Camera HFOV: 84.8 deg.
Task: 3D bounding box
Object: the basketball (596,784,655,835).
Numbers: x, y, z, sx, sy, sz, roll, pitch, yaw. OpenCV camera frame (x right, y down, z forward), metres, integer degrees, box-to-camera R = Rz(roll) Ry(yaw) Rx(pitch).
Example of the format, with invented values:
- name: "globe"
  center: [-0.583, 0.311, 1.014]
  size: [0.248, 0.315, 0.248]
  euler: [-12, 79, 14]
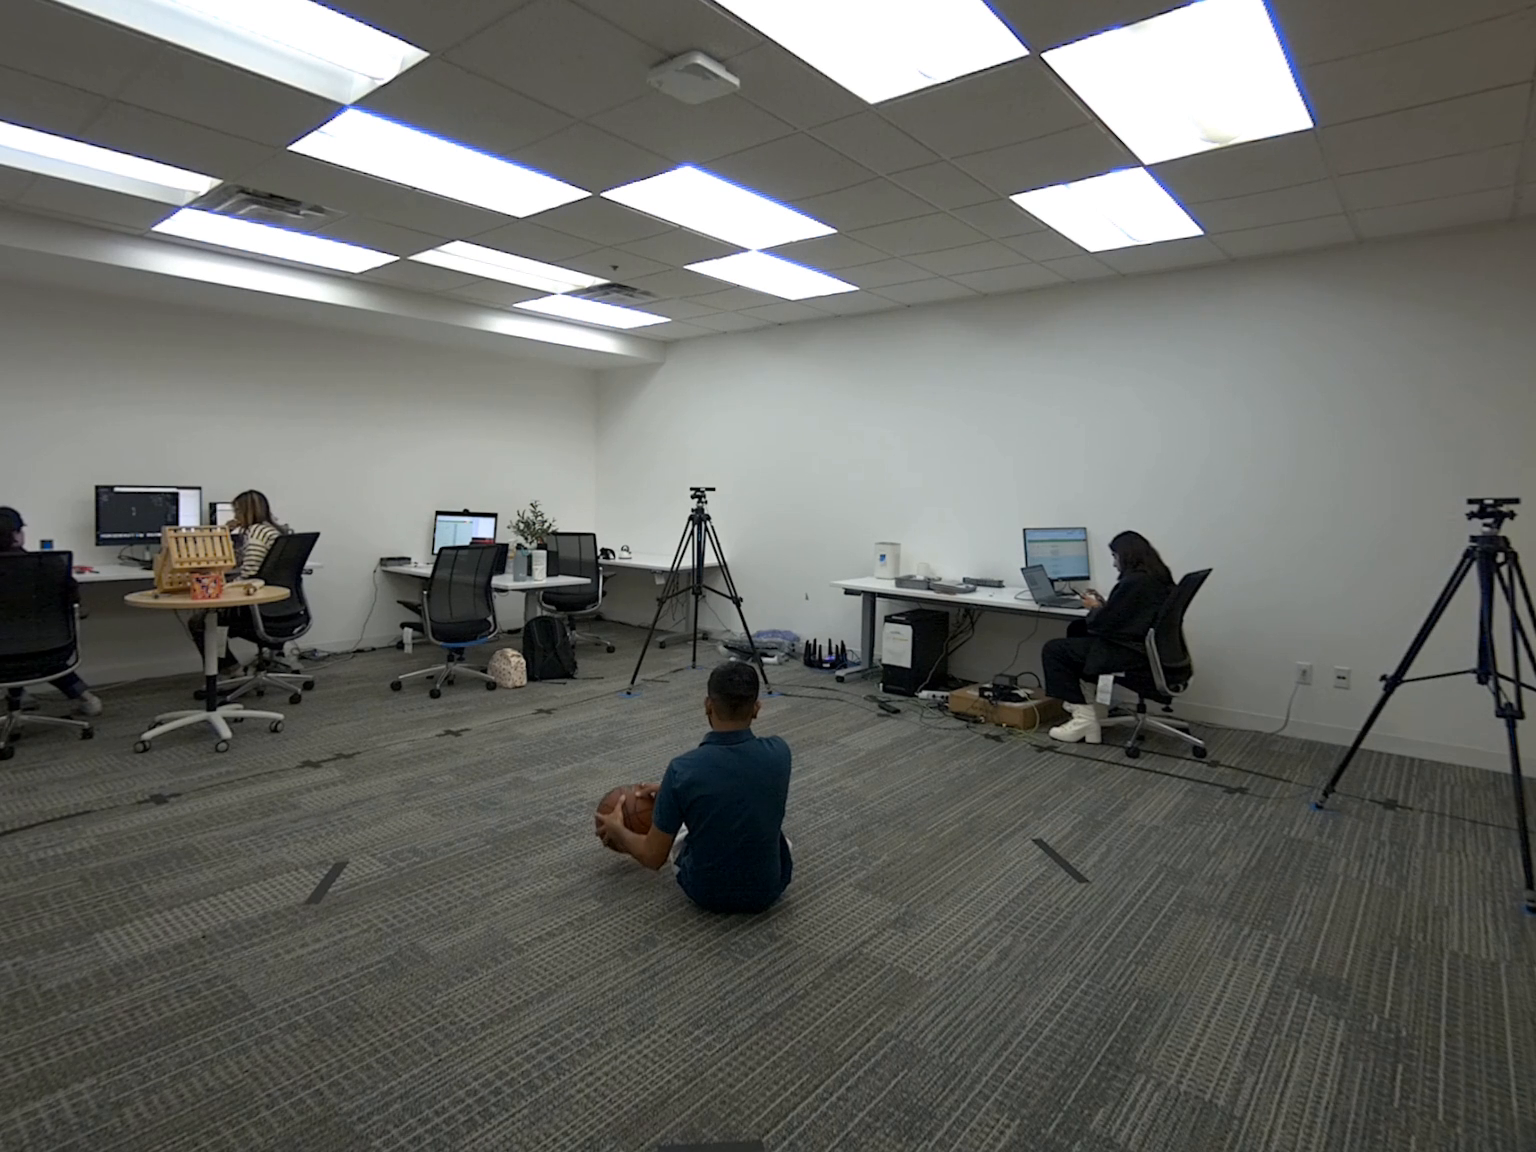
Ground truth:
- name: "basketball"
  center: [-0.524, 0.856, 3.119]
  size: [0.235, 0.235, 0.237]
  euler: [1, 4, -2]
